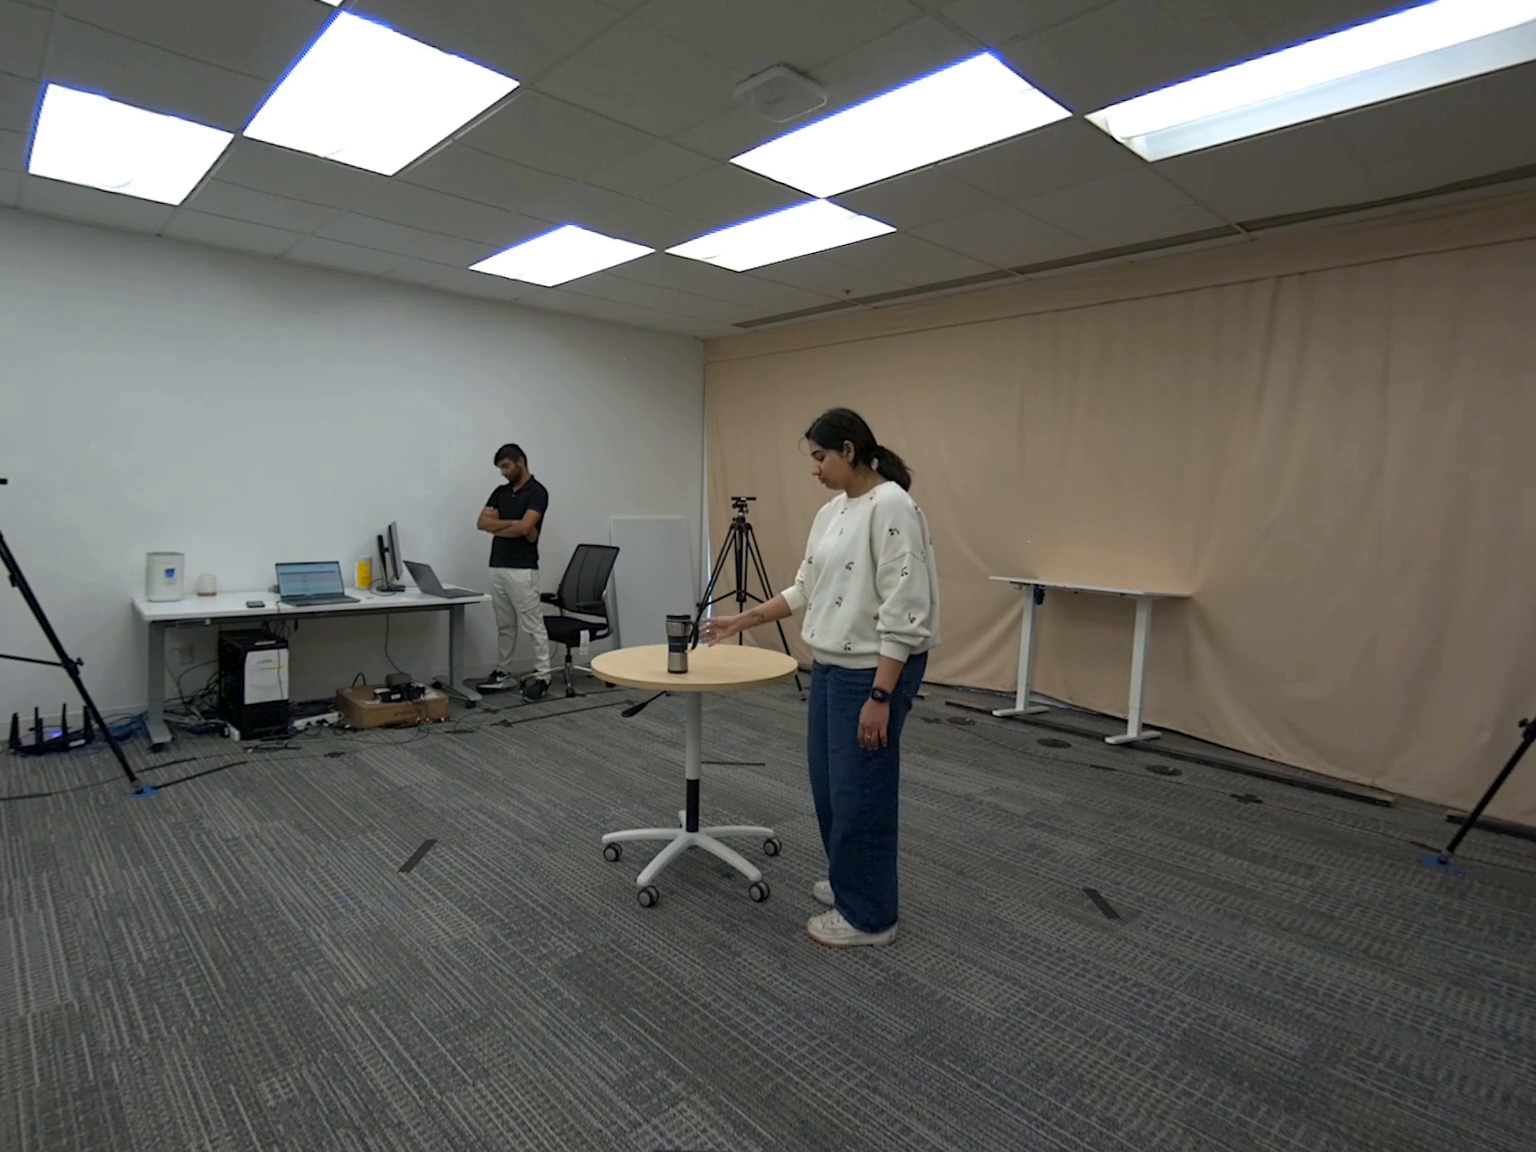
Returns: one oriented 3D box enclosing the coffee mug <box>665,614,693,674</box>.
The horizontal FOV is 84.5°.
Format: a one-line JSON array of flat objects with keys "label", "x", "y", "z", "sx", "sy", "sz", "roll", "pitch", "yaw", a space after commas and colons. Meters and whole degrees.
[{"label": "coffee mug", "x": -0.303, "y": 0.241, "z": 2.912, "sx": 0.086, "sy": 0.203, "sz": 0.124, "roll": 6, "pitch": -1, "yaw": -31}]
